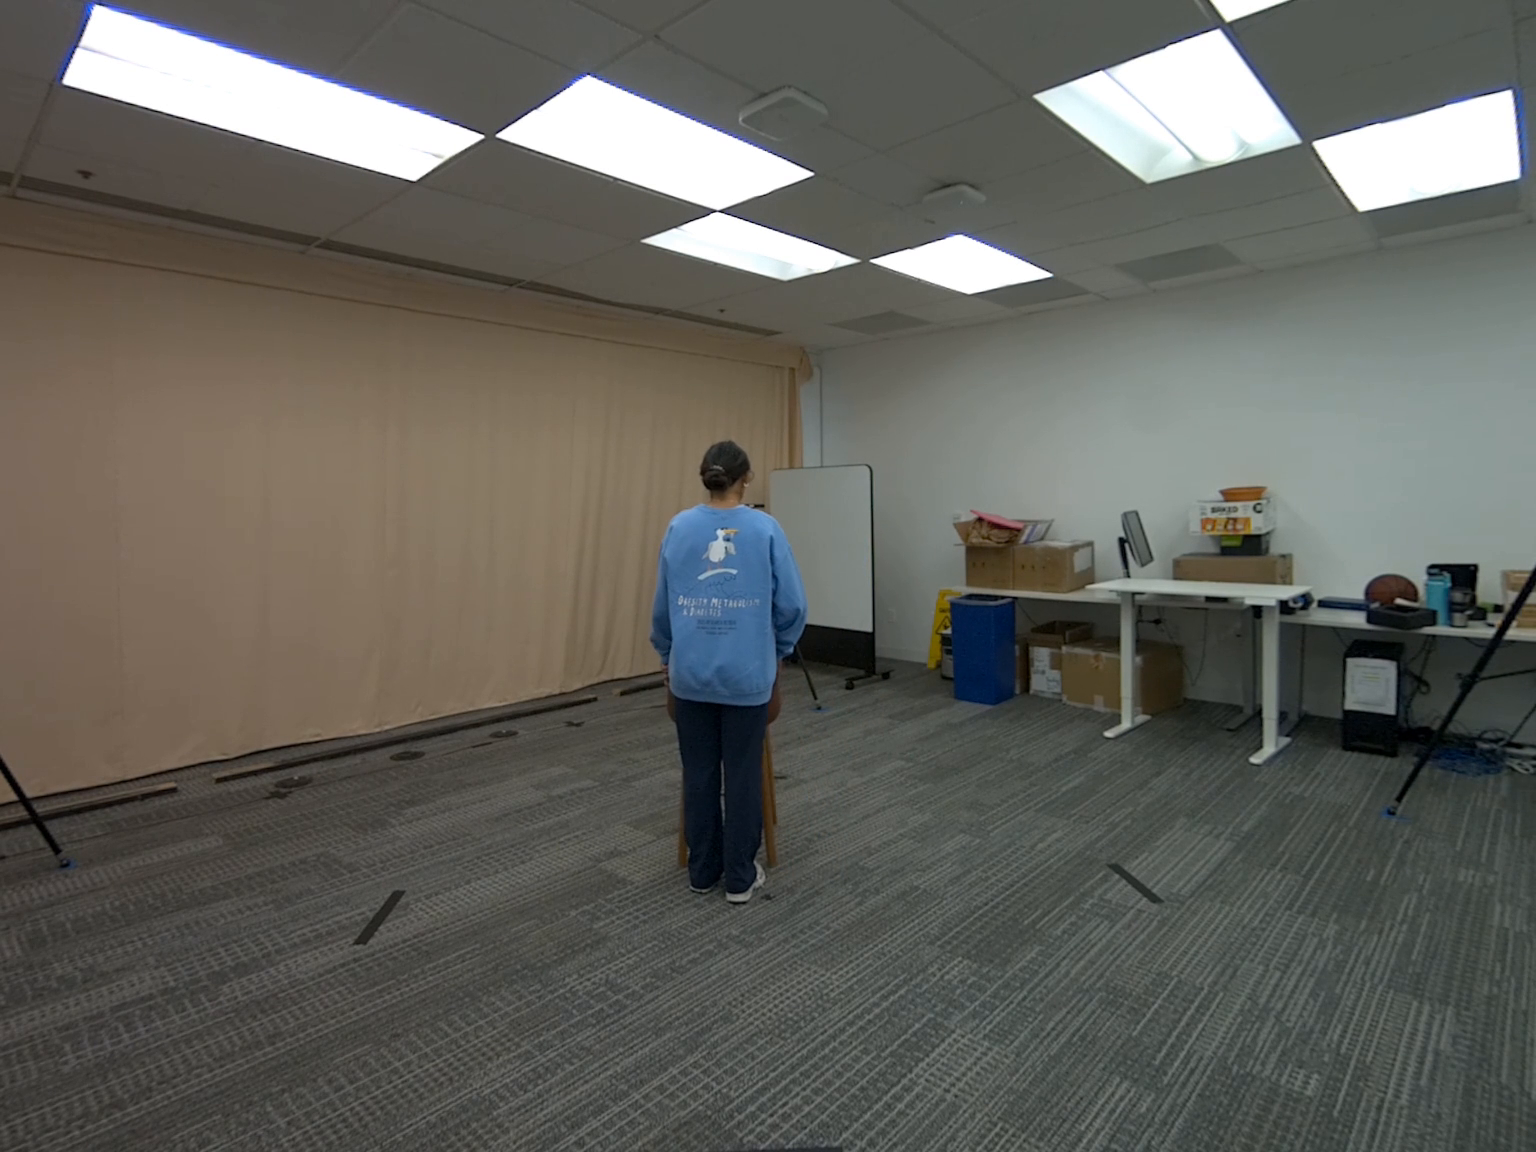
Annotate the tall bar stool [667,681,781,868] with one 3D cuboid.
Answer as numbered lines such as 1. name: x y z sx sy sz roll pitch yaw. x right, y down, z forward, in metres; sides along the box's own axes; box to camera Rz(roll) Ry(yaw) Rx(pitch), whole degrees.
1. tall bar stool: -0.175 0.668 3.434 0.458 0.887 0.468 -2 5 2
